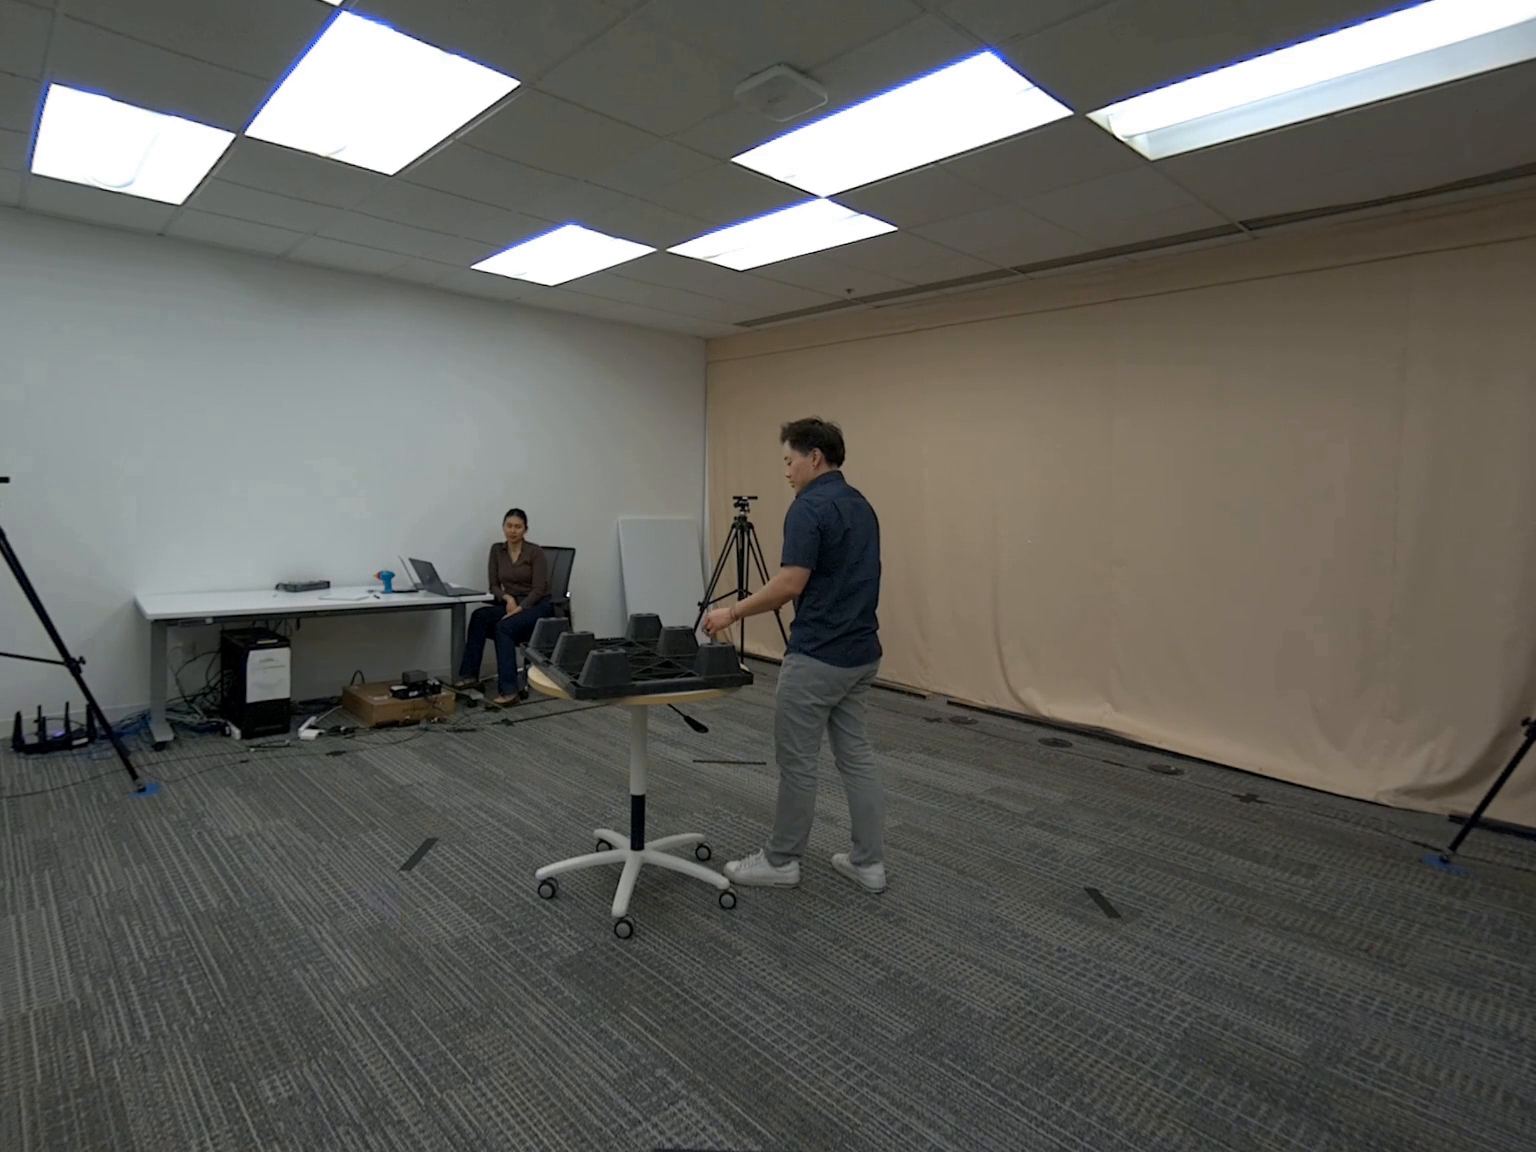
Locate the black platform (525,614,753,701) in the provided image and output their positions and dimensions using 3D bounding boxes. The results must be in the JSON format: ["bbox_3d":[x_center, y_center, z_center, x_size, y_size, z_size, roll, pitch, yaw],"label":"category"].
[{"bbox_3d":[-0.501,0.260,2.959,0.593,0.143,0.824,-1,6,-28],"label":"black platform"}]
